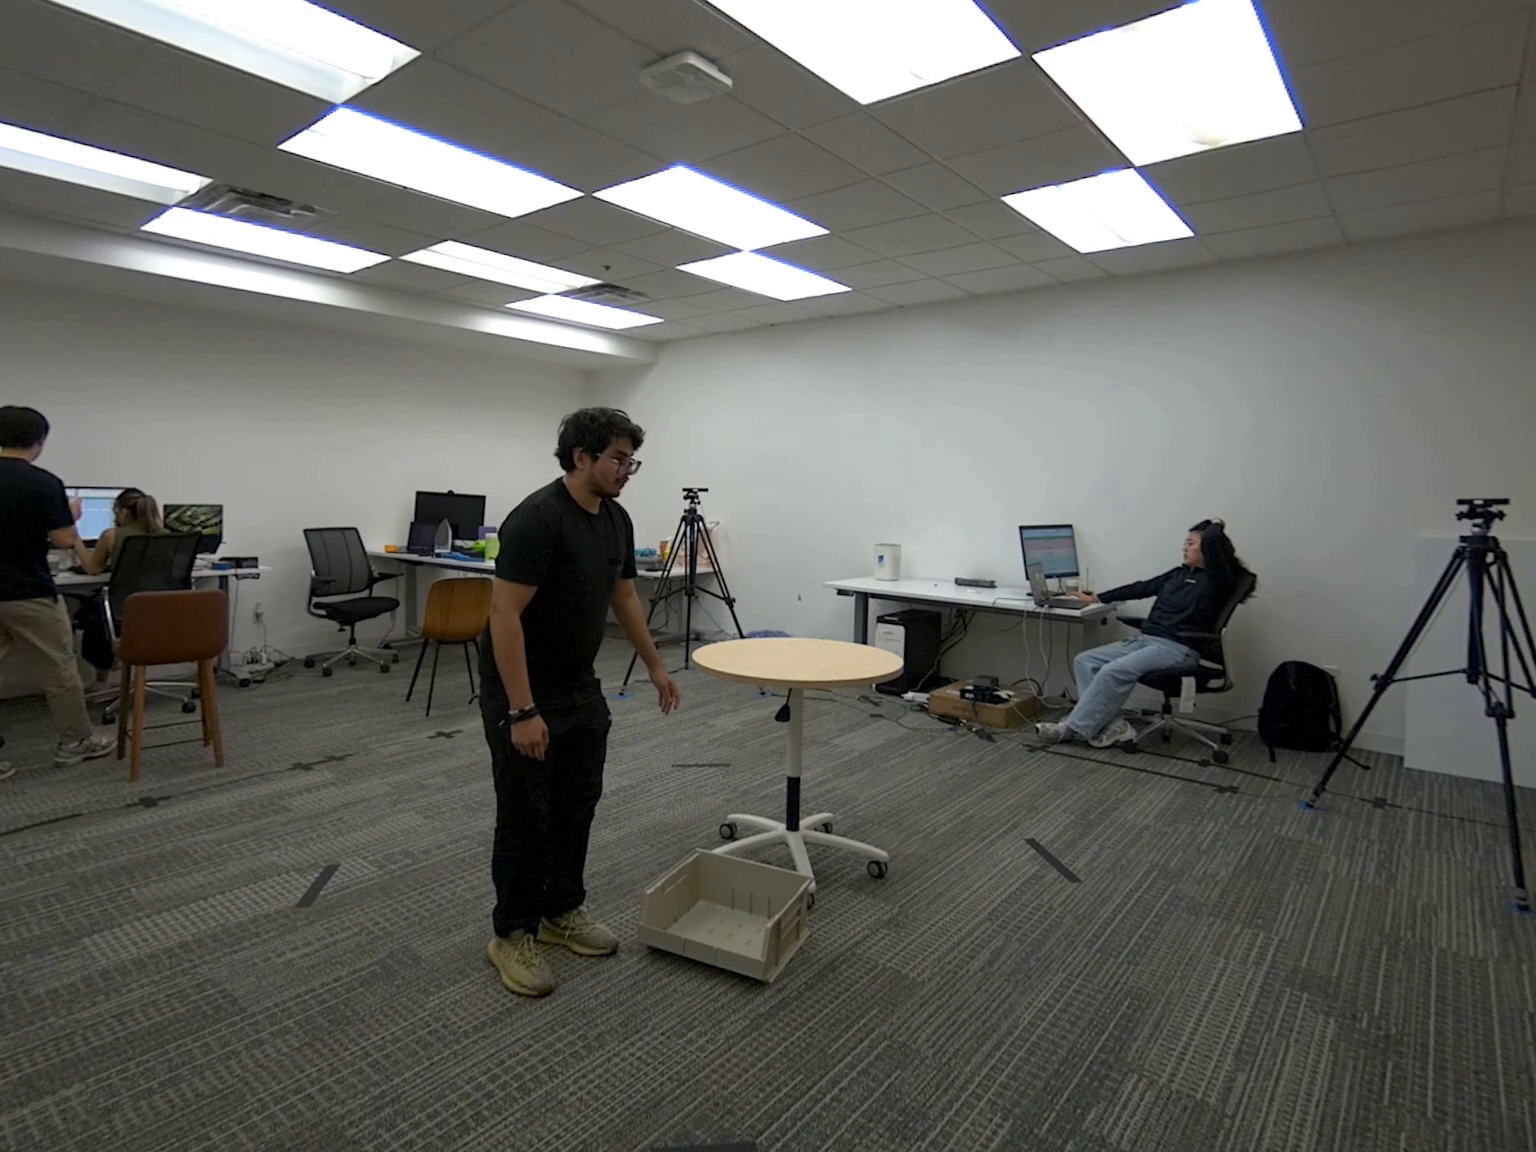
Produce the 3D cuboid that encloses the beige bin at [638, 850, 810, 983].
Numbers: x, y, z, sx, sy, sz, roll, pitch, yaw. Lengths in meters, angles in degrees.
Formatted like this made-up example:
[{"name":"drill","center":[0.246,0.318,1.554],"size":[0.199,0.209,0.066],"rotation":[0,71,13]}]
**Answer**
[{"name":"beige bin","center":[-0.130,1.034,2.609],"size":[0.433,0.188,0.369],"rotation":[2,4,25]}]
